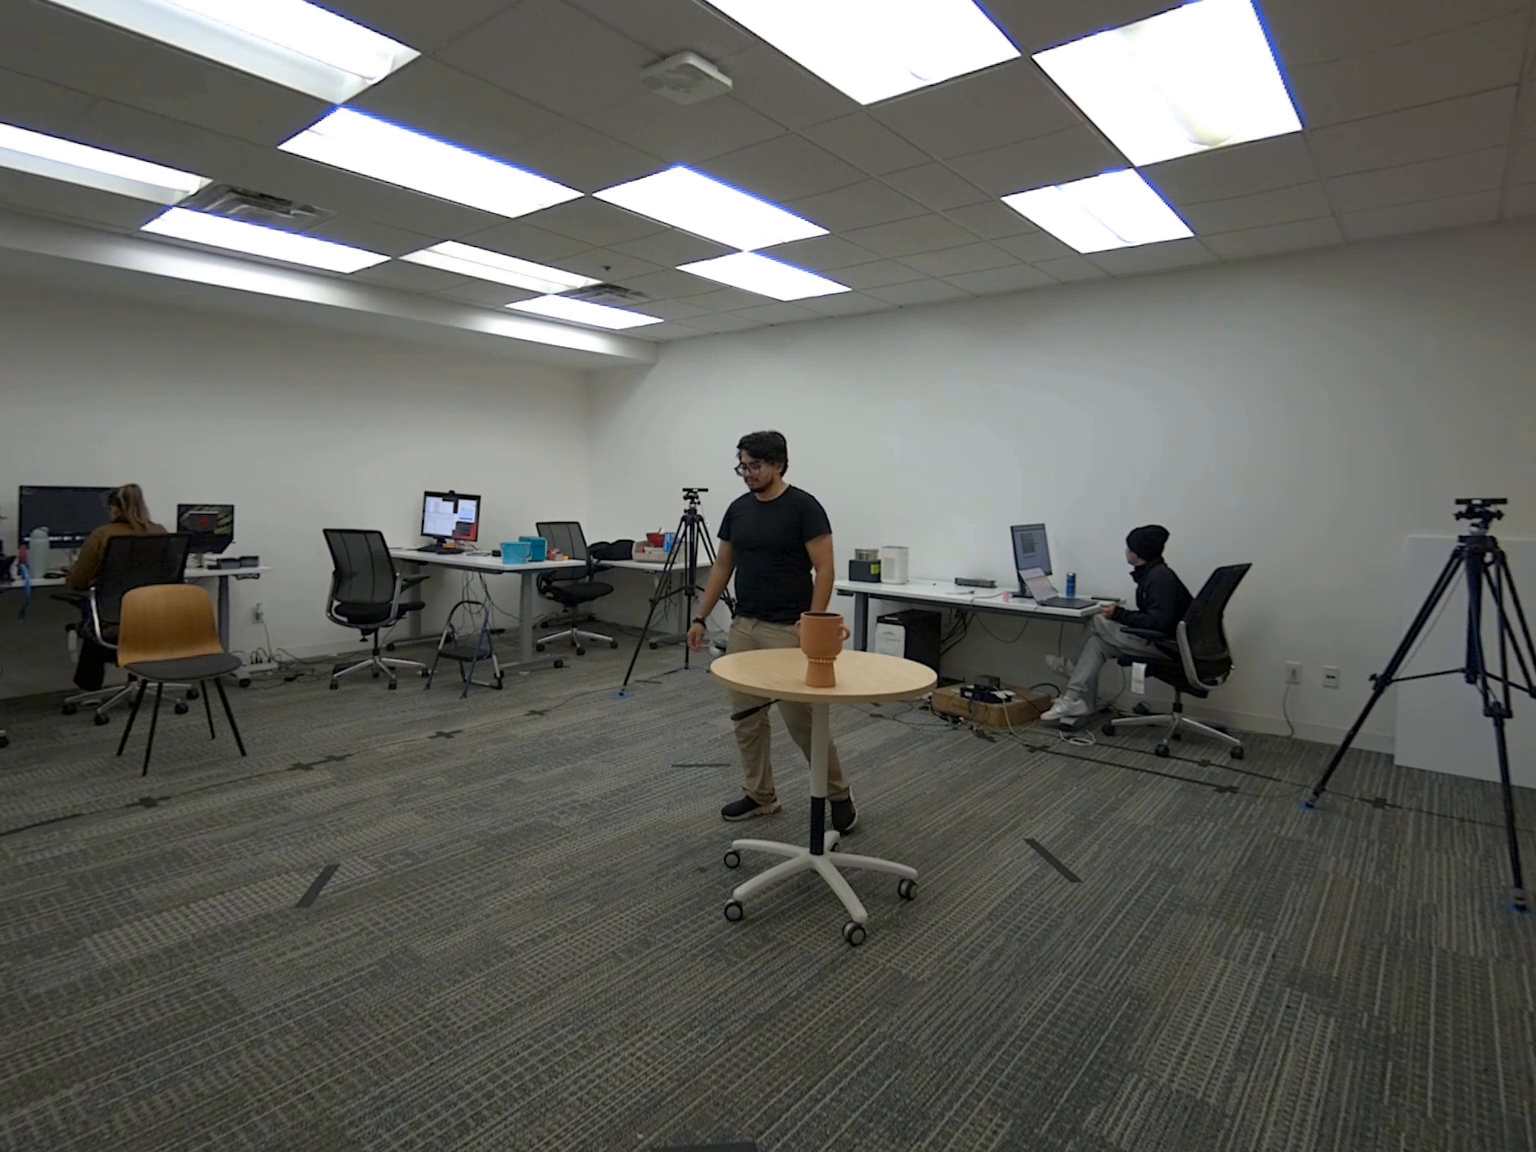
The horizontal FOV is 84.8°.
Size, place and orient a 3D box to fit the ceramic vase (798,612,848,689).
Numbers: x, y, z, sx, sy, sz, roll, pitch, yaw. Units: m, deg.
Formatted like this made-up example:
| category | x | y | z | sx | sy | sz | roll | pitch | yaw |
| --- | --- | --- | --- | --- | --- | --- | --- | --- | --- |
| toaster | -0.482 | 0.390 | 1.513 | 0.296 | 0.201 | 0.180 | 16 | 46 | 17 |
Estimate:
| category | x | y | z | sx | sy | sz | roll | pitch | yaw |
| --- | --- | --- | --- | --- | --- | --- | --- | --- | --- |
| ceramic vase | 0.161 | 0.230 | 2.662 | 0.133 | 0.219 | 0.161 | 1 | 3 | -14 |
